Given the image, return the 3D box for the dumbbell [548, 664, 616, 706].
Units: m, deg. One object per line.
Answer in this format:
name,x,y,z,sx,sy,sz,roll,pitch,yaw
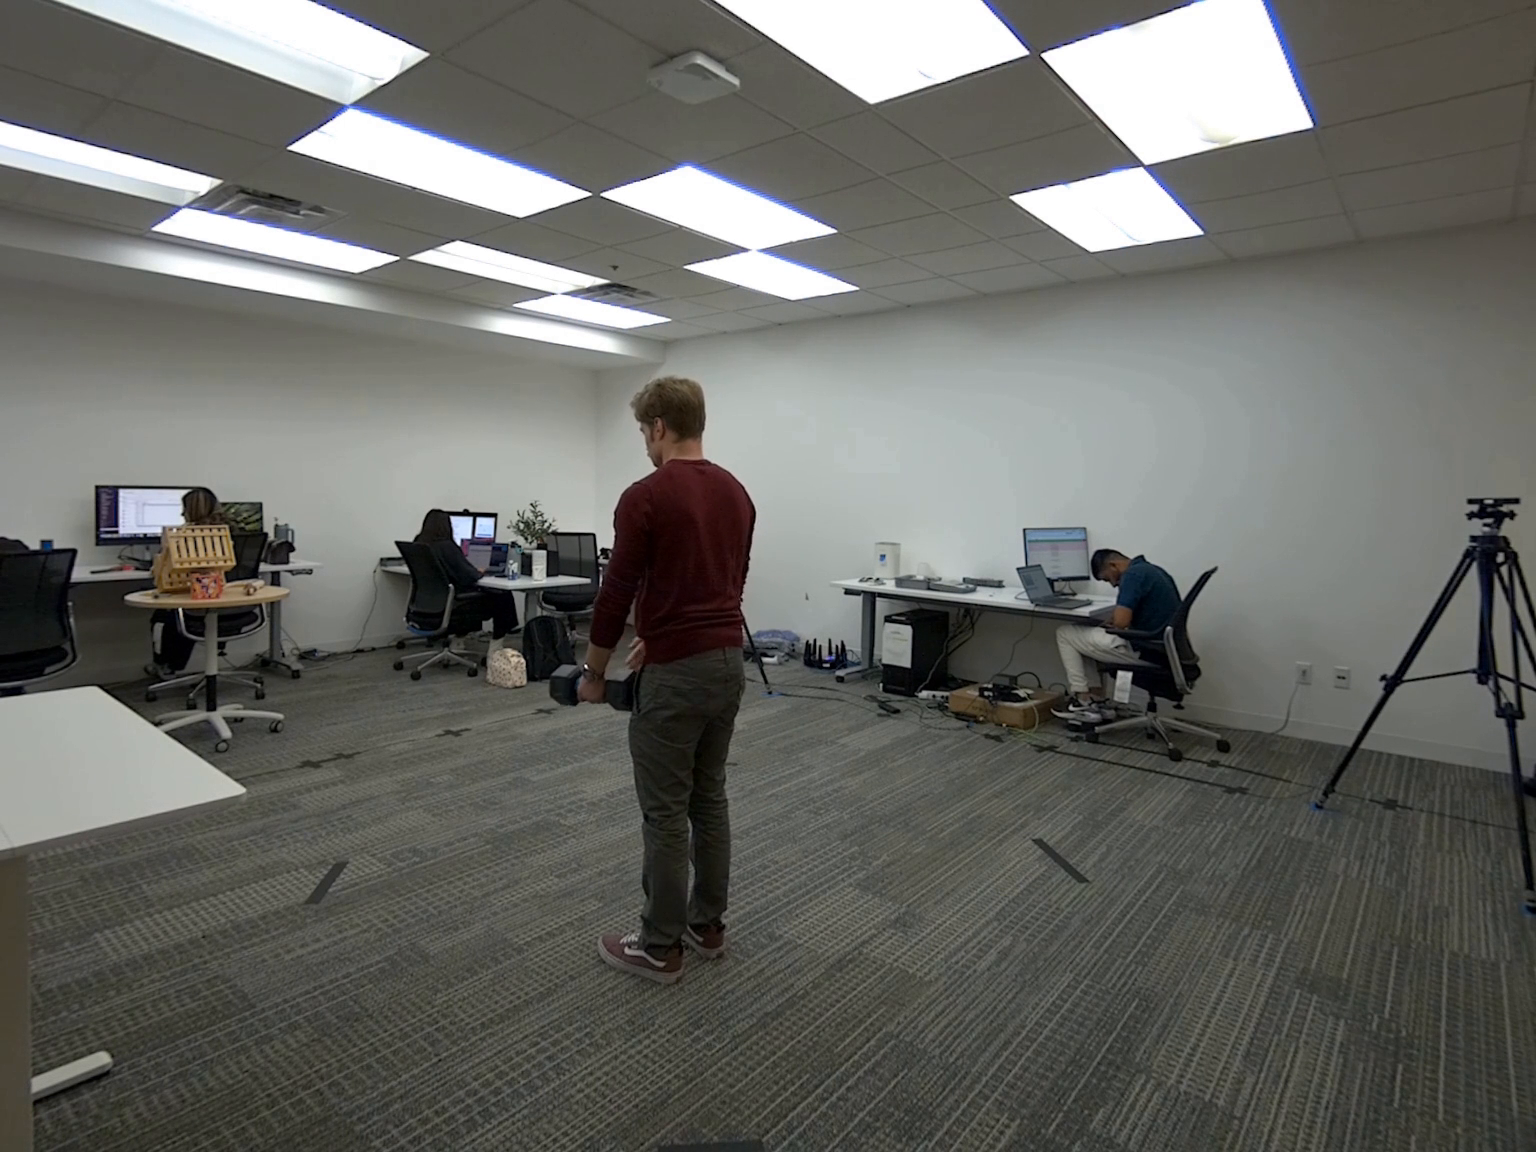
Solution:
dumbbell,-0.520,0.335,2.557,0.301,0.123,0.105,0,-5,26
